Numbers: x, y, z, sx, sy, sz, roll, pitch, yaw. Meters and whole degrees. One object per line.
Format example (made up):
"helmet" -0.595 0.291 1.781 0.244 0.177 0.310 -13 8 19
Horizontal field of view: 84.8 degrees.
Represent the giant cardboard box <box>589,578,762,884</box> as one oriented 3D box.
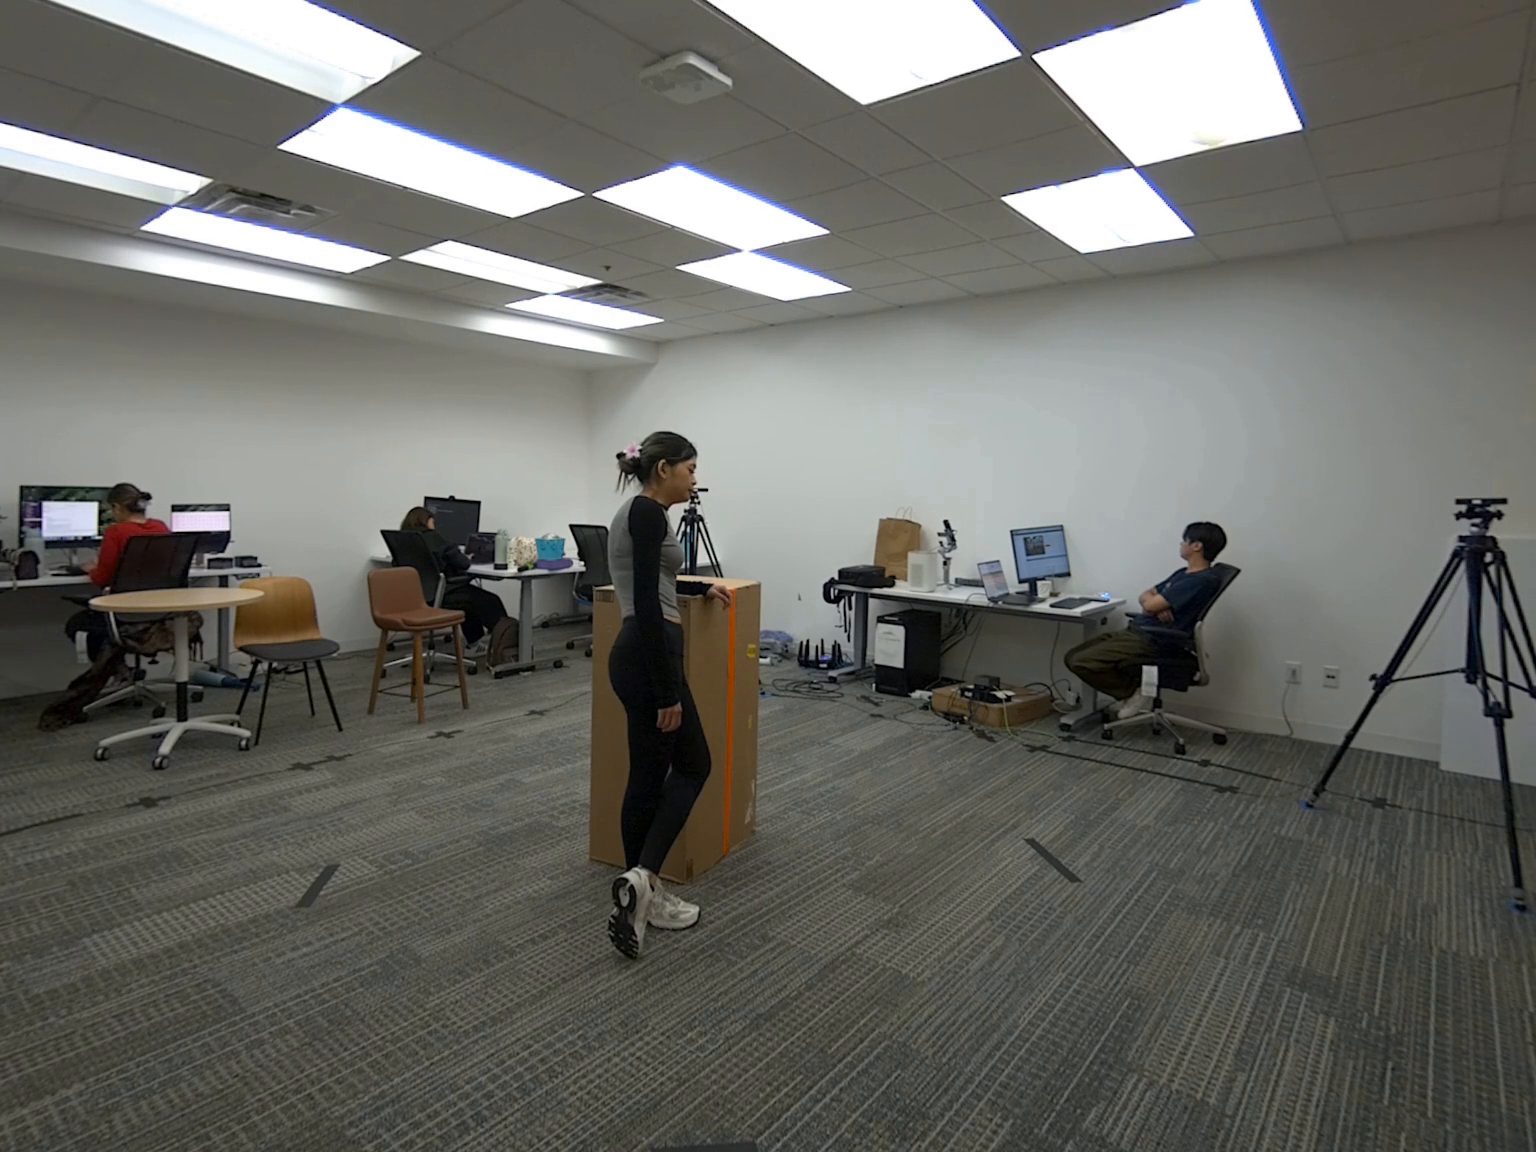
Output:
"giant cardboard box" -0.356 0.539 3.305 0.438 1.022 0.564 3 4 27
